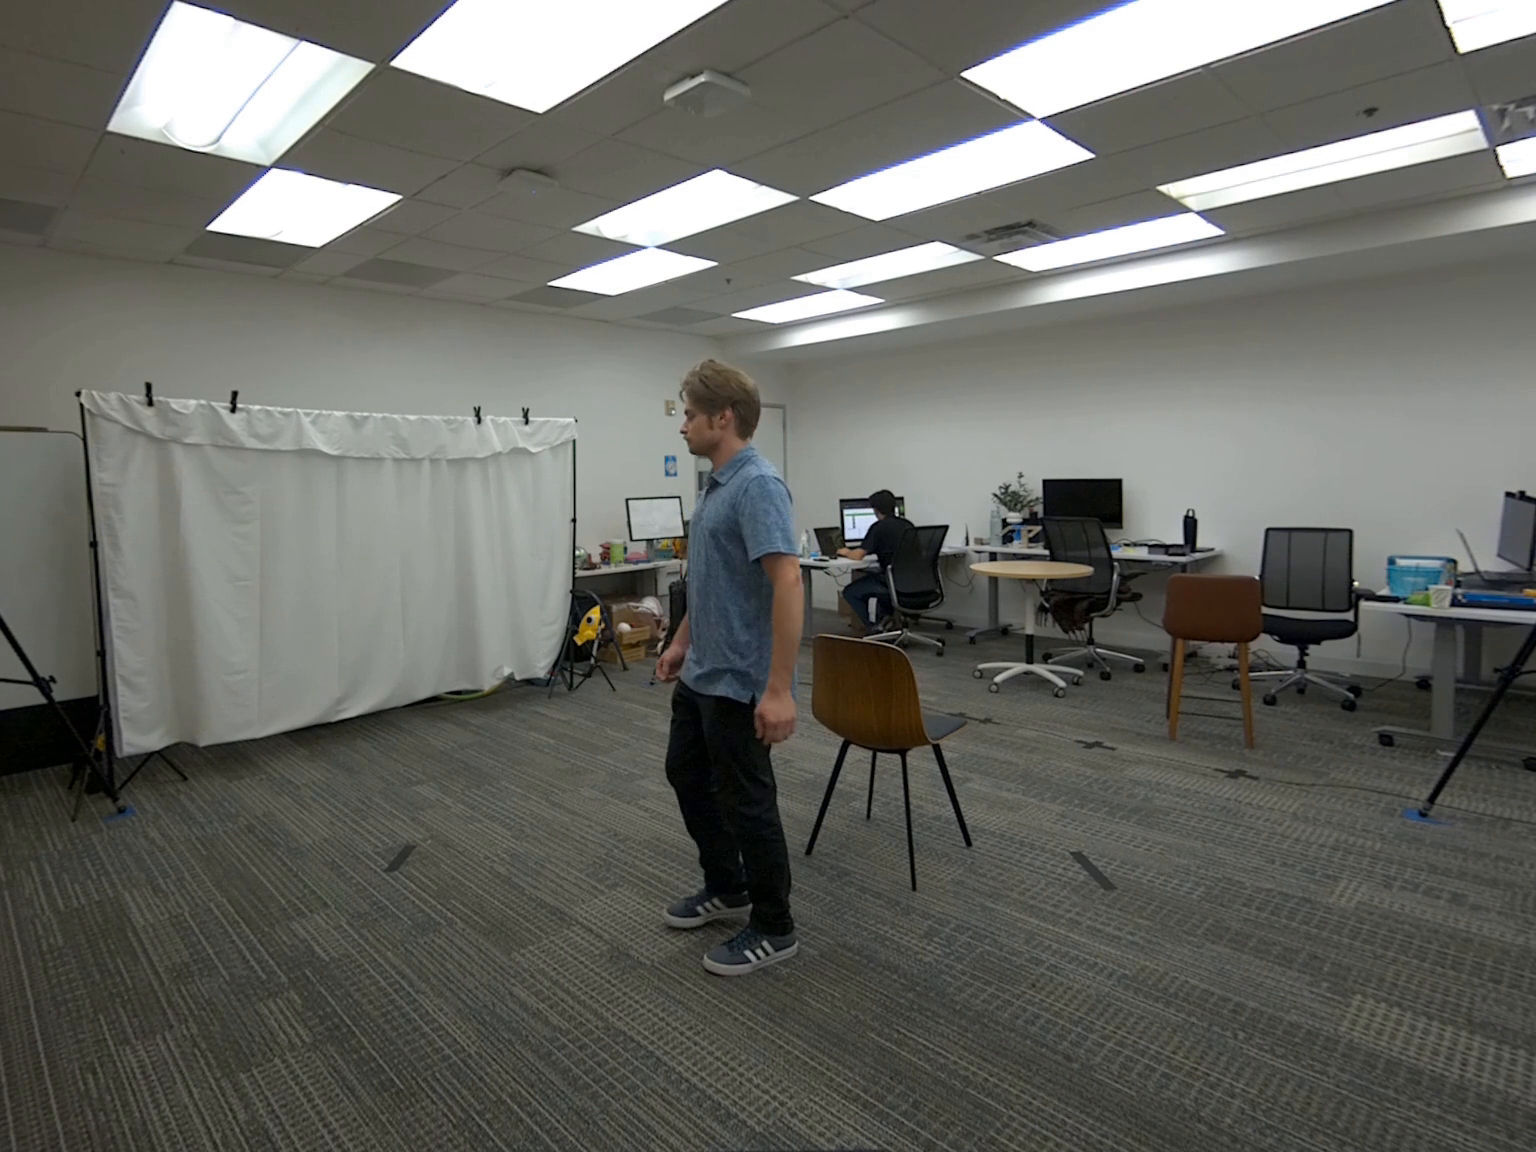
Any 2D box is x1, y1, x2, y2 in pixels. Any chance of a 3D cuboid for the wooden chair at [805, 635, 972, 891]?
[{"bbox_3d":[0.452,0.599,3.162,0.492,0.871,0.512,2,10,39],"label":"wooden chair"}]
